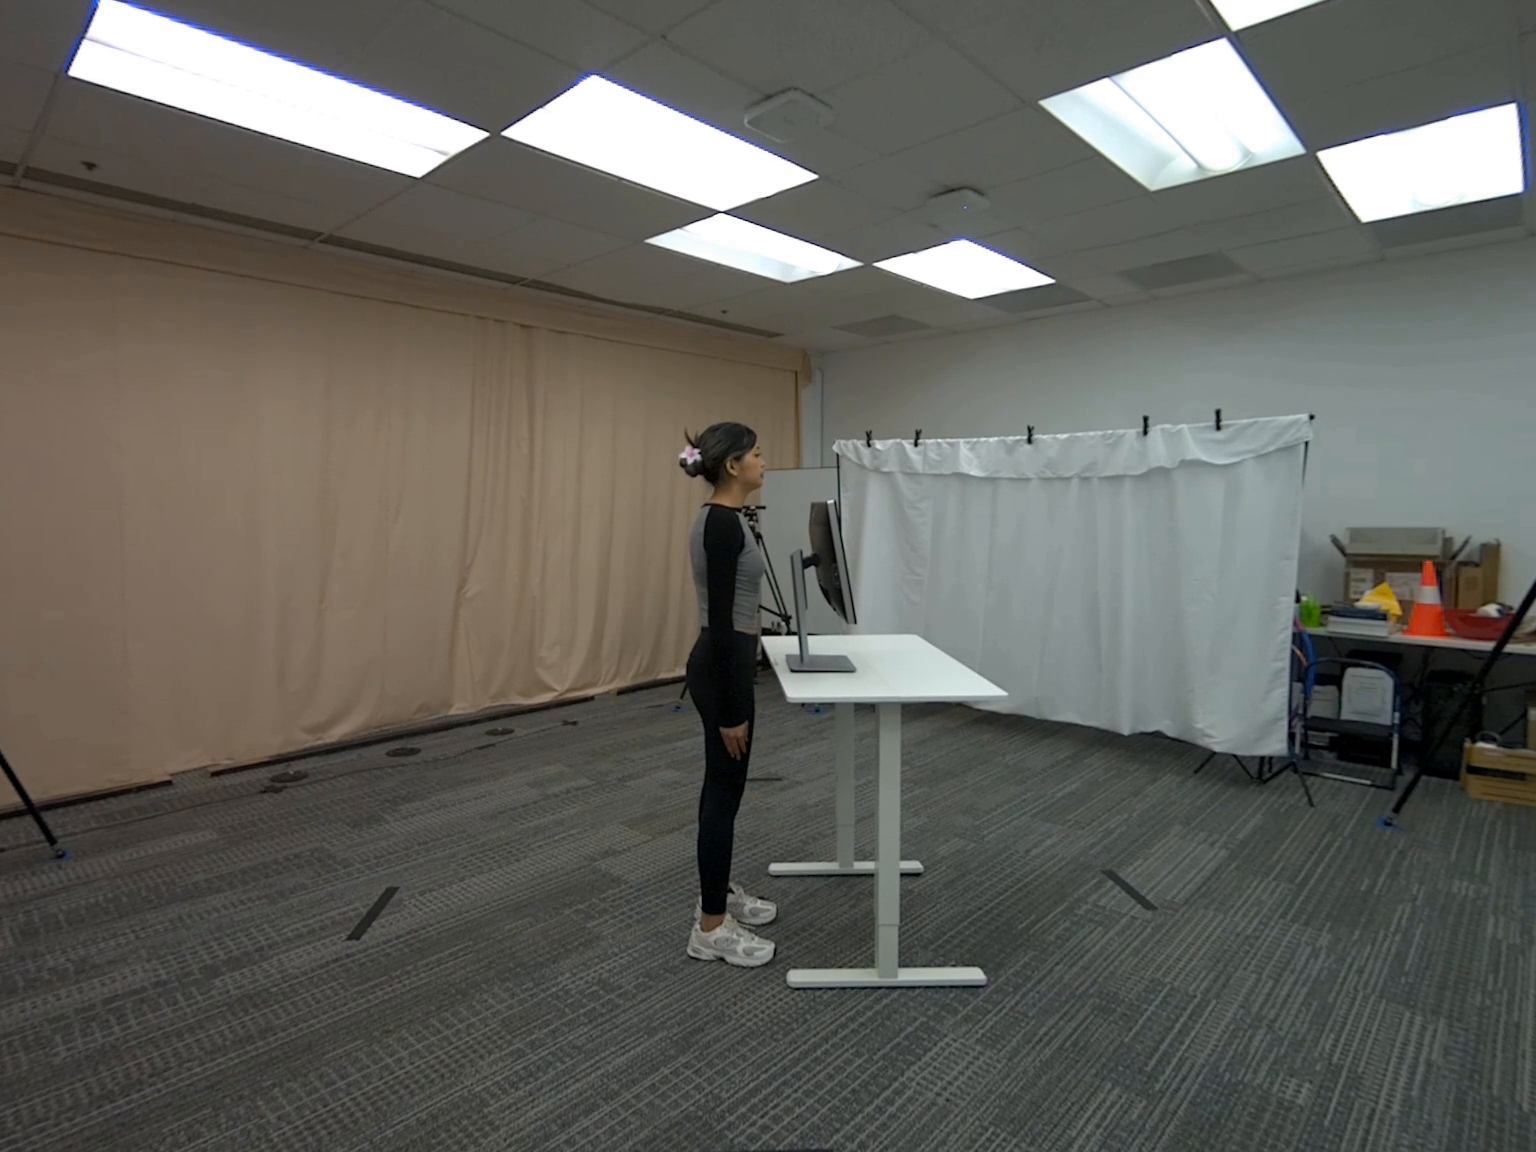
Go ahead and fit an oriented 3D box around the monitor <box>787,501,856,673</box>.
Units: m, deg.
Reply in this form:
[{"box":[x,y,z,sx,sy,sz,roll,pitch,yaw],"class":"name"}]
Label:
[{"box":[0.168,0.032,2.690,0.187,0.521,0.542,2,5,-4],"class":"monitor"}]
